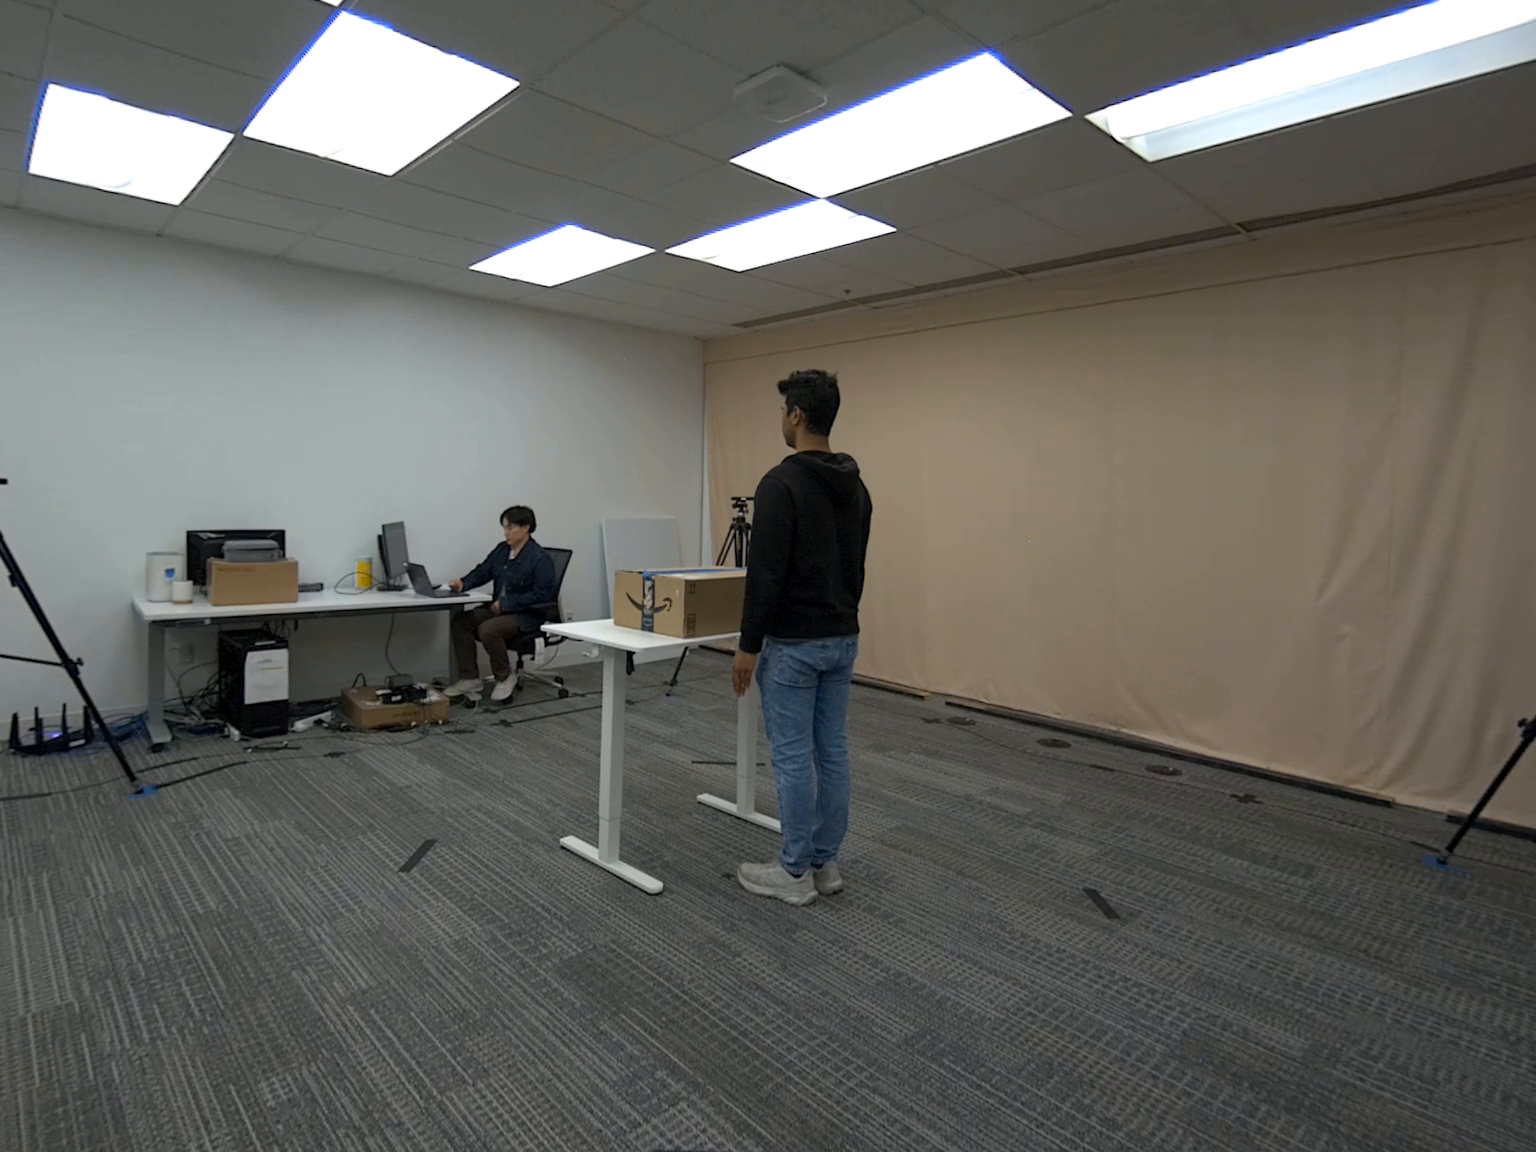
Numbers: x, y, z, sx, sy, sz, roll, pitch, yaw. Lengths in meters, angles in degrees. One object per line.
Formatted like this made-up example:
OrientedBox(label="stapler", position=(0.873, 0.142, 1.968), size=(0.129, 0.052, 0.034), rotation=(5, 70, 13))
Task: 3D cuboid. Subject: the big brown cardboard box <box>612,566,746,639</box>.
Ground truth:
OrientedBox(label="big brown cardboard box", position=(-0.269, 0.090, 3.357), size=(0.428, 0.233, 0.575), rotation=(5, 5, 42))
